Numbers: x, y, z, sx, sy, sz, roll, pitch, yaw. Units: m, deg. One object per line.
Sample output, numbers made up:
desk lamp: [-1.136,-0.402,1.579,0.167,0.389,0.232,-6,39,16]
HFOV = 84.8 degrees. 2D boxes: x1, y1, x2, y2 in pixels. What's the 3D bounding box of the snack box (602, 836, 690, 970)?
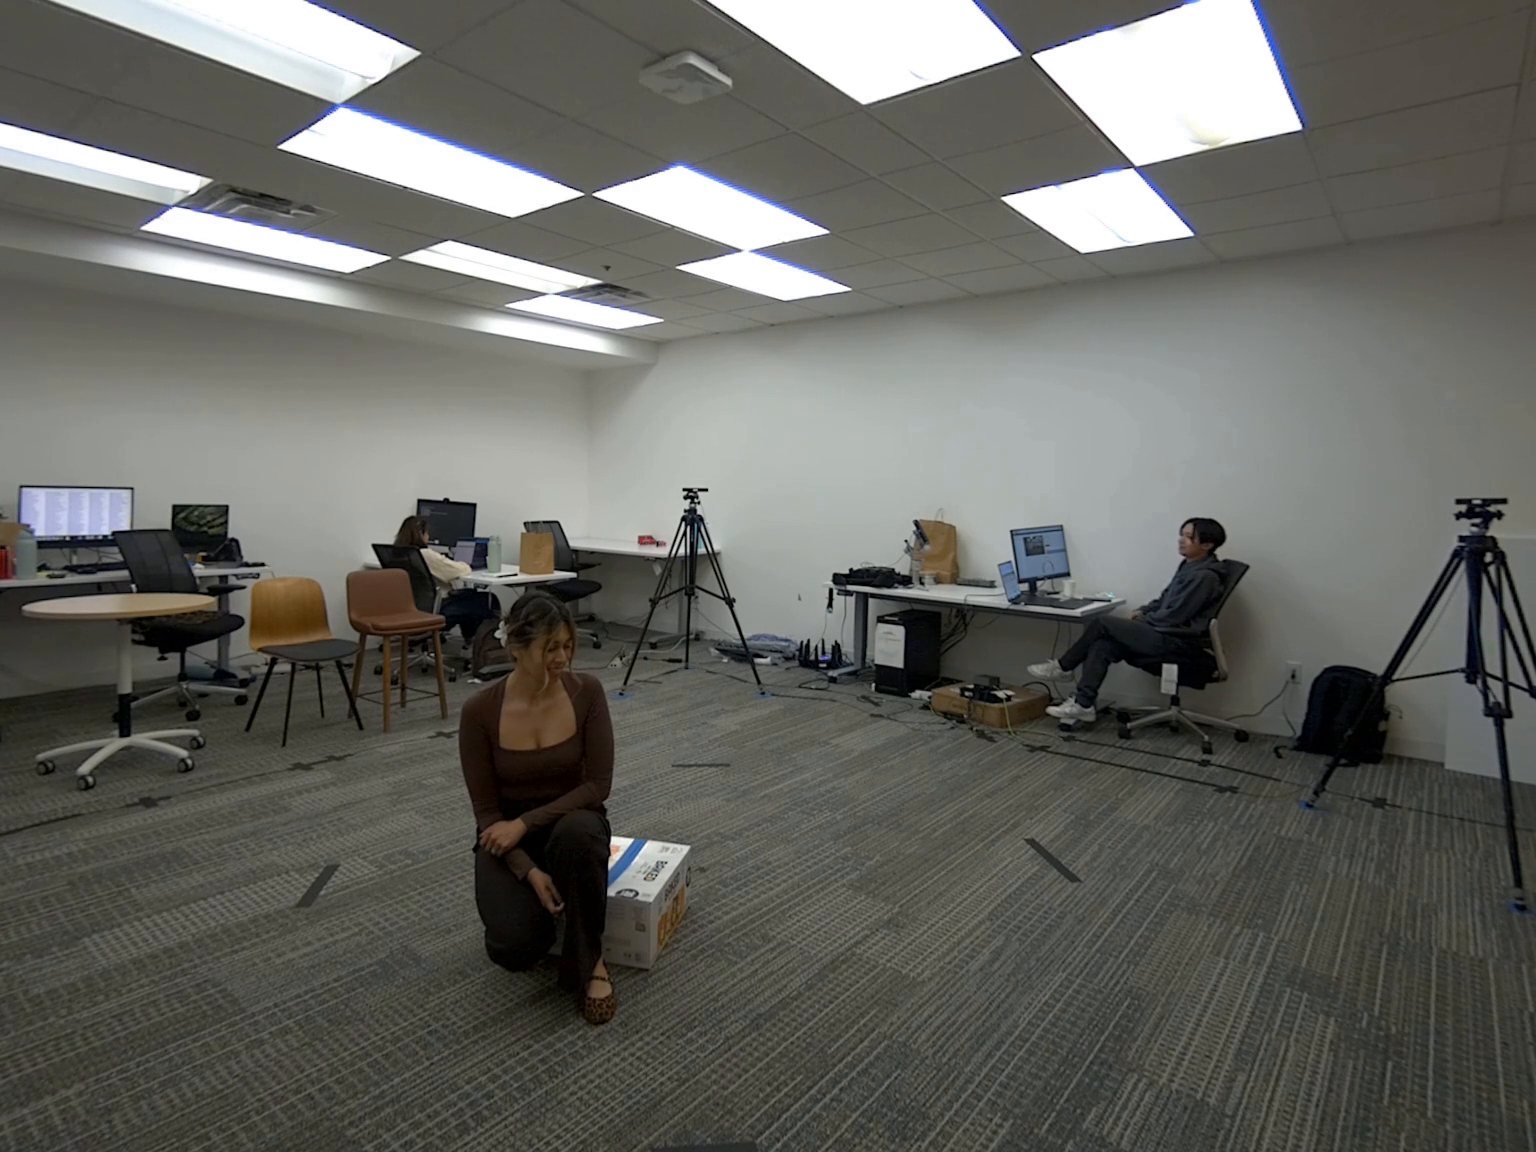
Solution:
snack box: [-0.470,1.008,2.670,0.345,0.205,0.401,1,5,13]
